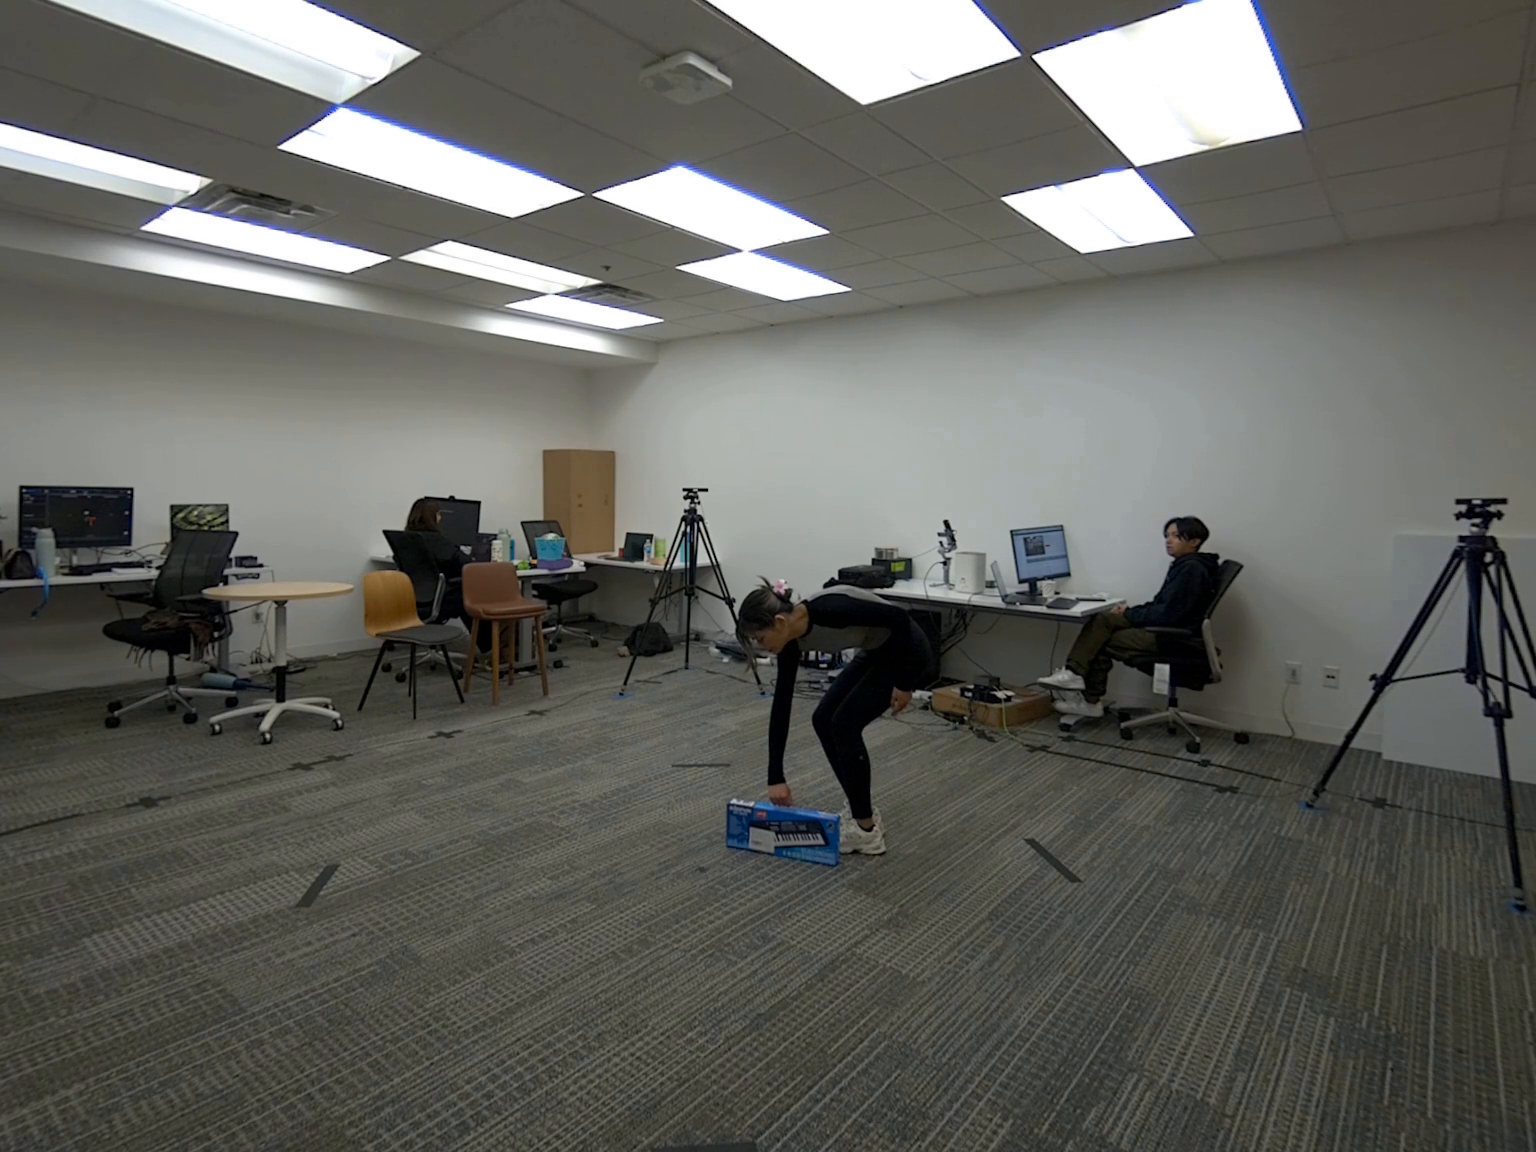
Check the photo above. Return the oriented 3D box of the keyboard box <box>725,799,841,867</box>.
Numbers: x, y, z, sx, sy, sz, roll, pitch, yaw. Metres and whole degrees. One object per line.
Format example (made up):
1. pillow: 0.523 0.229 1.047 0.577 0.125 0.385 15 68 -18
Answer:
1. keyboard box: 0.046 0.972 3.253 0.446 0.175 0.058 4 4 20
